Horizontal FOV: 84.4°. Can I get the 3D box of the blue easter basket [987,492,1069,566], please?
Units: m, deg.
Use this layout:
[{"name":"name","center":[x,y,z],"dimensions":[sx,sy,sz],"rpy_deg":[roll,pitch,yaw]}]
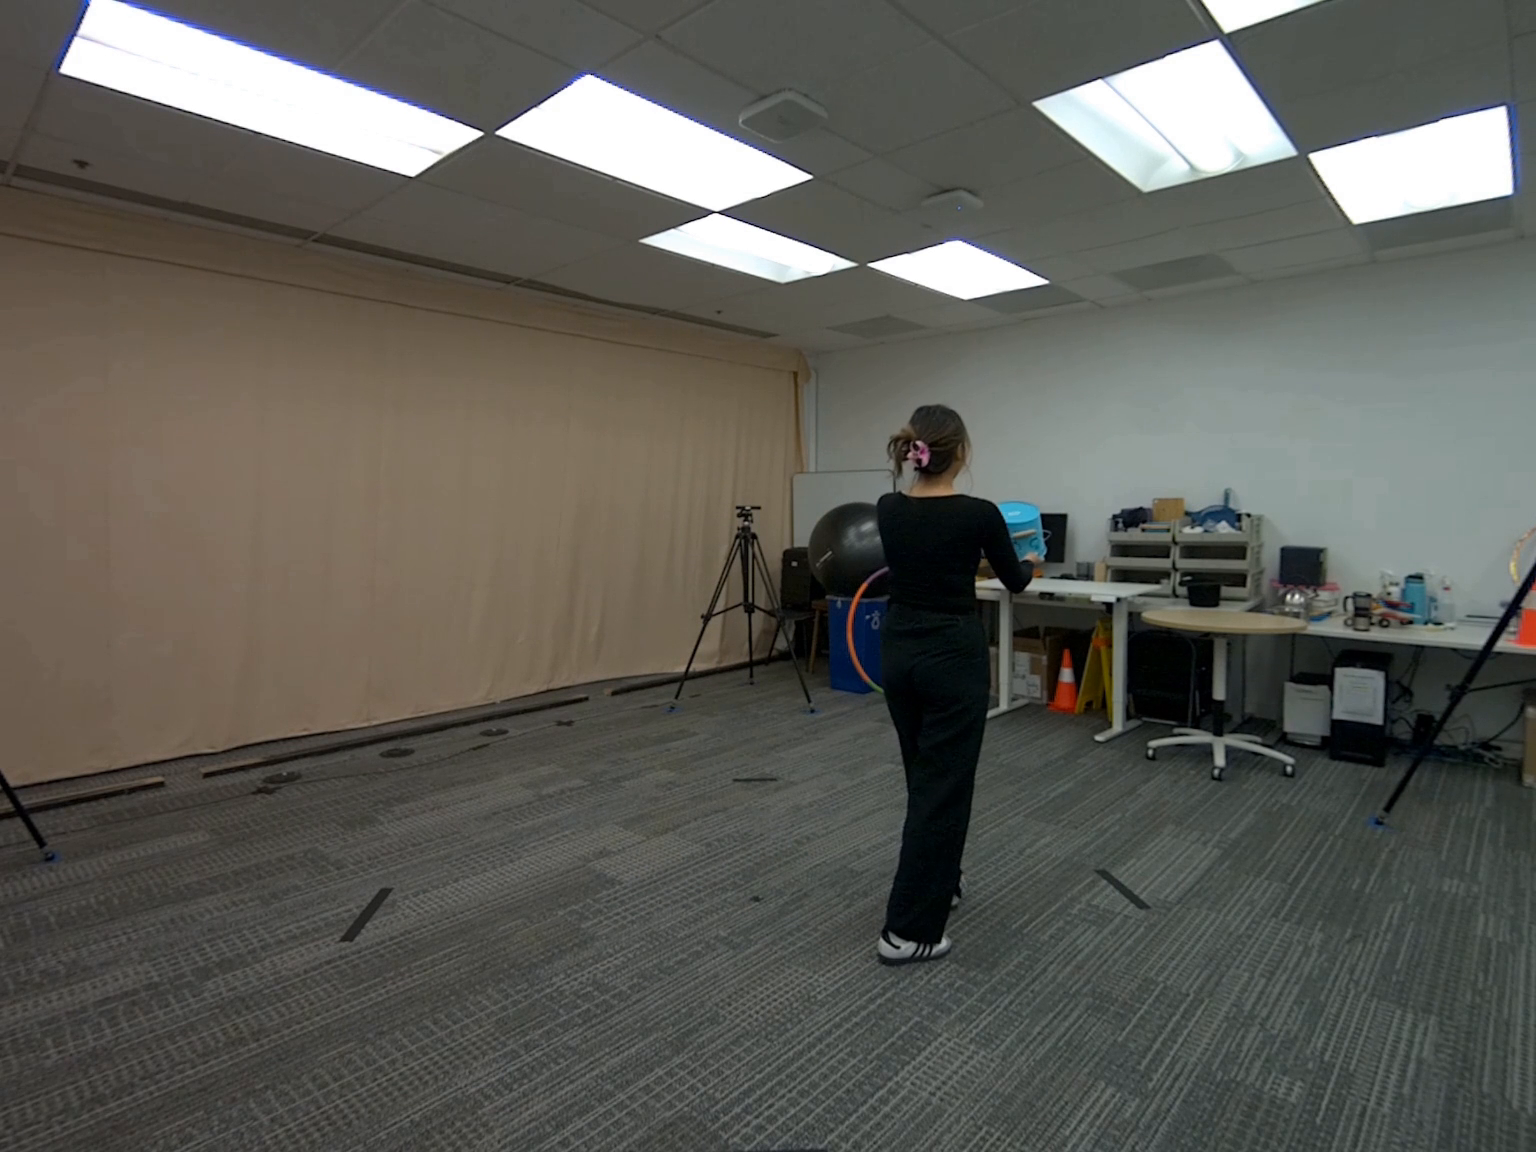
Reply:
[{"name":"blue easter basket","center":[0.914,-0.167,3.066],"dimensions":[0.244,0.153,0.248],"rpy_deg":[-8,29,3]}]
